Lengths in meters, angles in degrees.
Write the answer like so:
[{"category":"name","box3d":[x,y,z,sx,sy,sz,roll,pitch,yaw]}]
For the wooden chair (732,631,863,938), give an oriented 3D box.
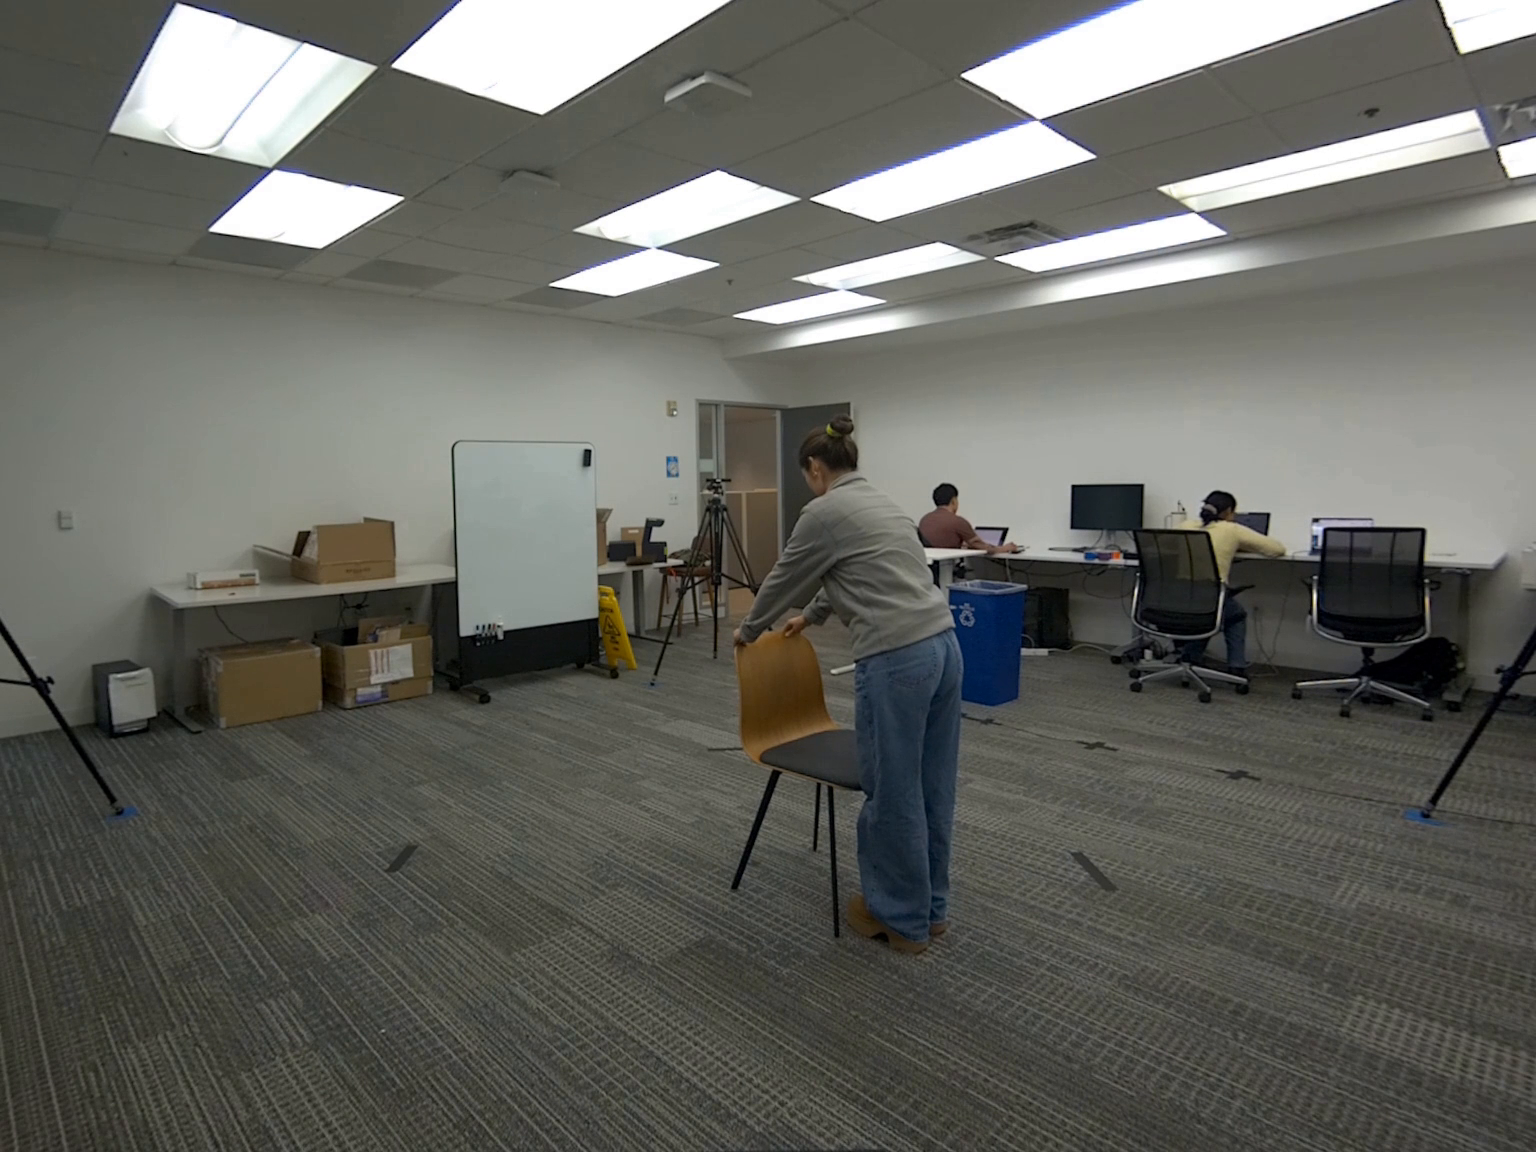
[{"category":"wooden chair","box3d":[0.189,0.640,2.873,0.538,0.876,0.465,-2,2,44]}]
